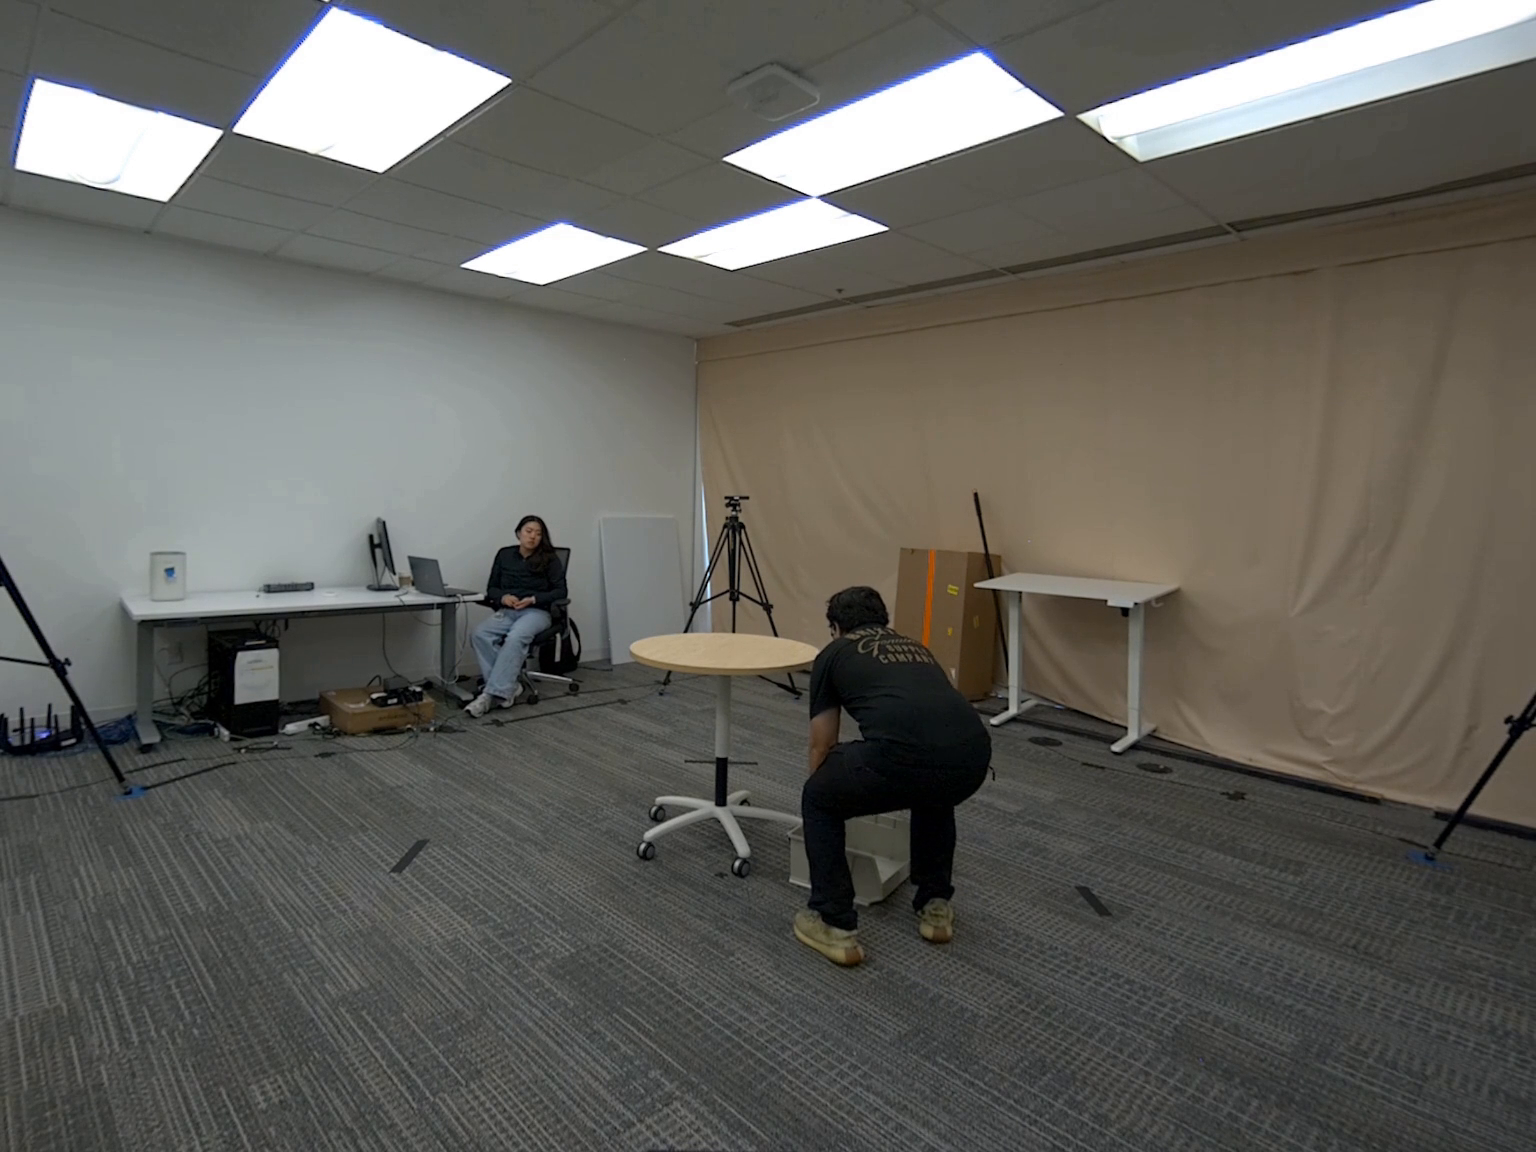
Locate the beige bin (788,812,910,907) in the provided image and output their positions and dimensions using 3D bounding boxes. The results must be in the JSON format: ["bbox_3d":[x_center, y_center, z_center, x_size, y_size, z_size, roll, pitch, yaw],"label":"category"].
[{"bbox_3d":[0.327,1.025,3.127,0.386,0.188,0.414,2,4,33],"label":"beige bin"}]
